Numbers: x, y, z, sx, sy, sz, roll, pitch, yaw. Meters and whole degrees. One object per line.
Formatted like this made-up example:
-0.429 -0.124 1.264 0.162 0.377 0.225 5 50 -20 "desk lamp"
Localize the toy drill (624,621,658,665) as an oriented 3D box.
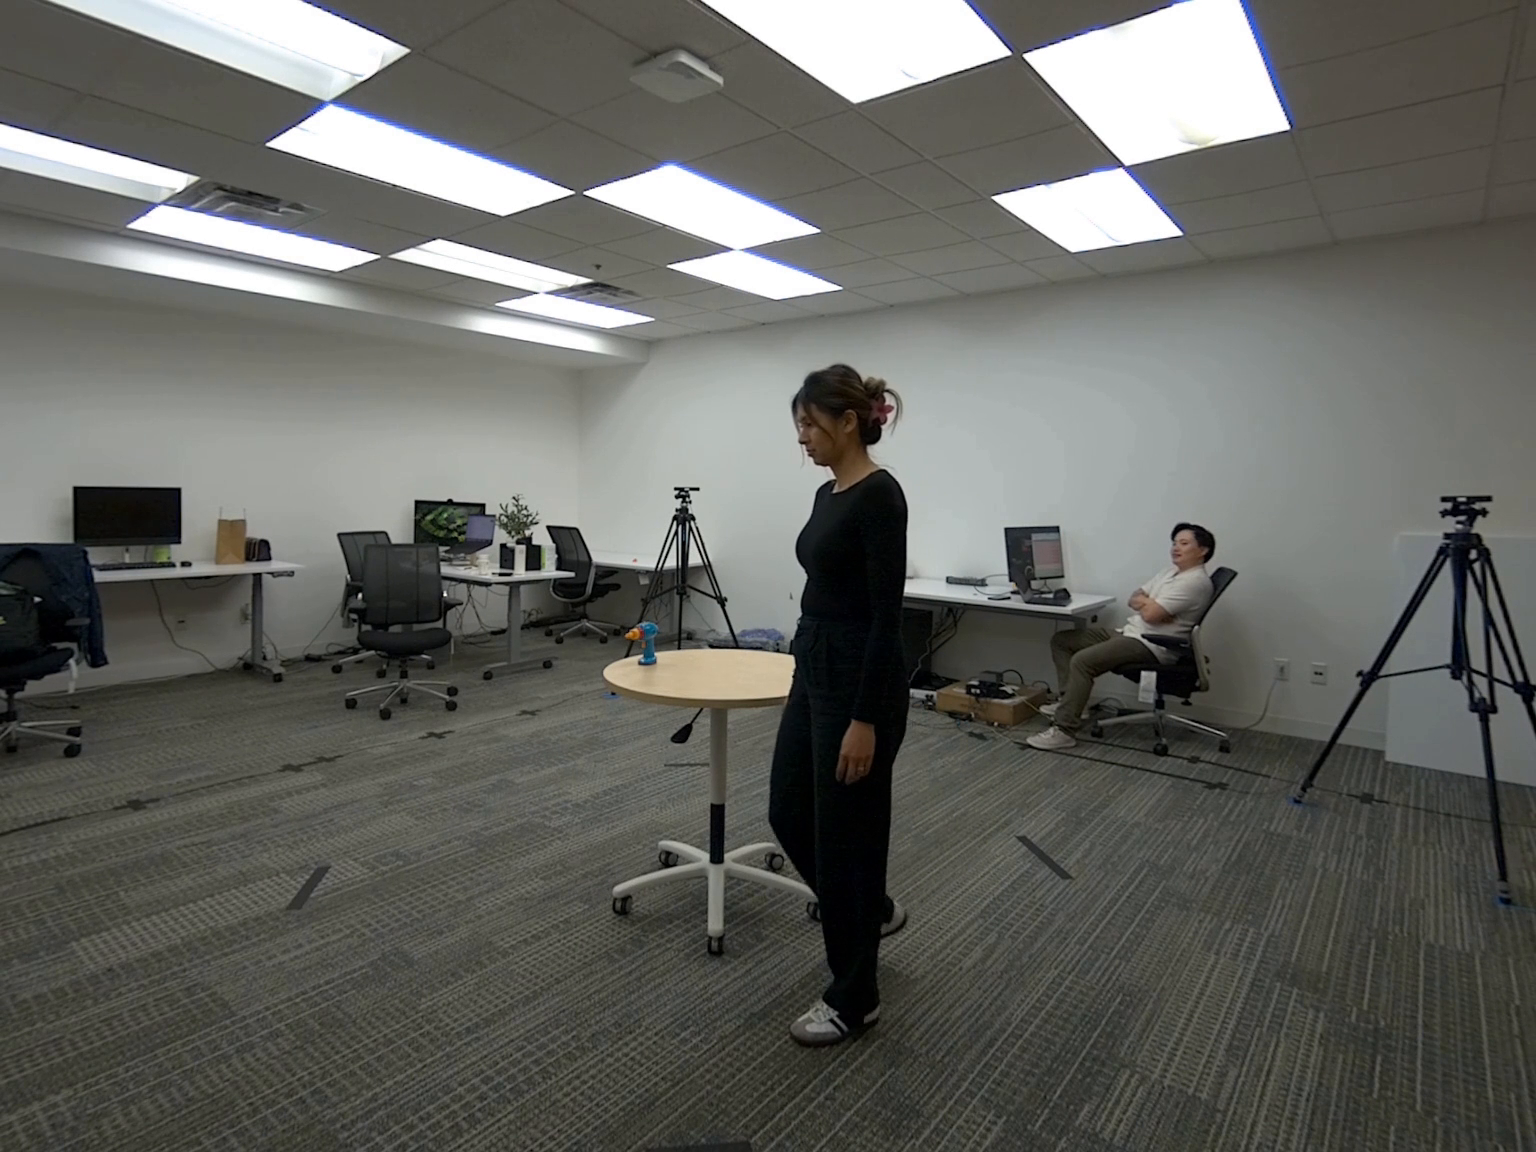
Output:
-0.442 0.232 2.887 0.063 0.145 0.166 2 6 29 "toy drill"
